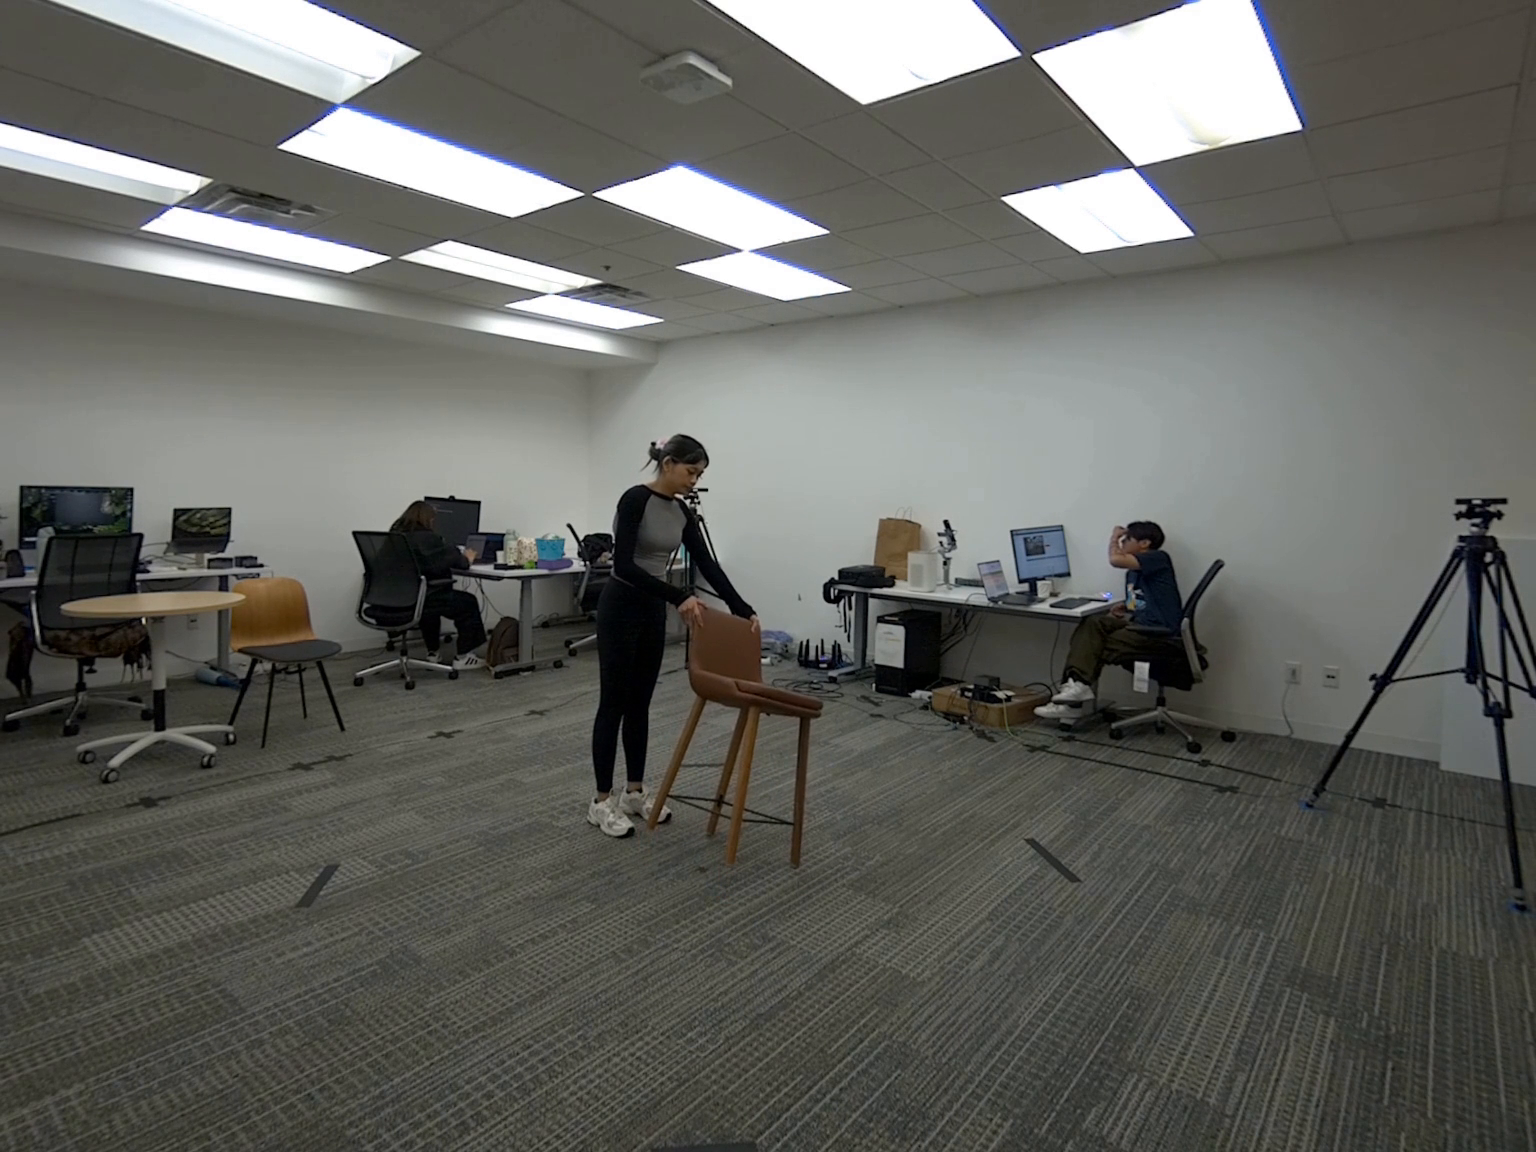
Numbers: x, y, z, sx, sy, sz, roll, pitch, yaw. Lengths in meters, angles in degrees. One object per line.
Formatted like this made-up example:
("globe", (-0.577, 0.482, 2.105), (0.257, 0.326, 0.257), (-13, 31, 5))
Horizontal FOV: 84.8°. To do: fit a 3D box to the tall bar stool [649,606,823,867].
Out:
("tall bar stool", (-0.099, 0.586, 3.250), (0.482, 0.898, 0.438), (0, -15, 41))
